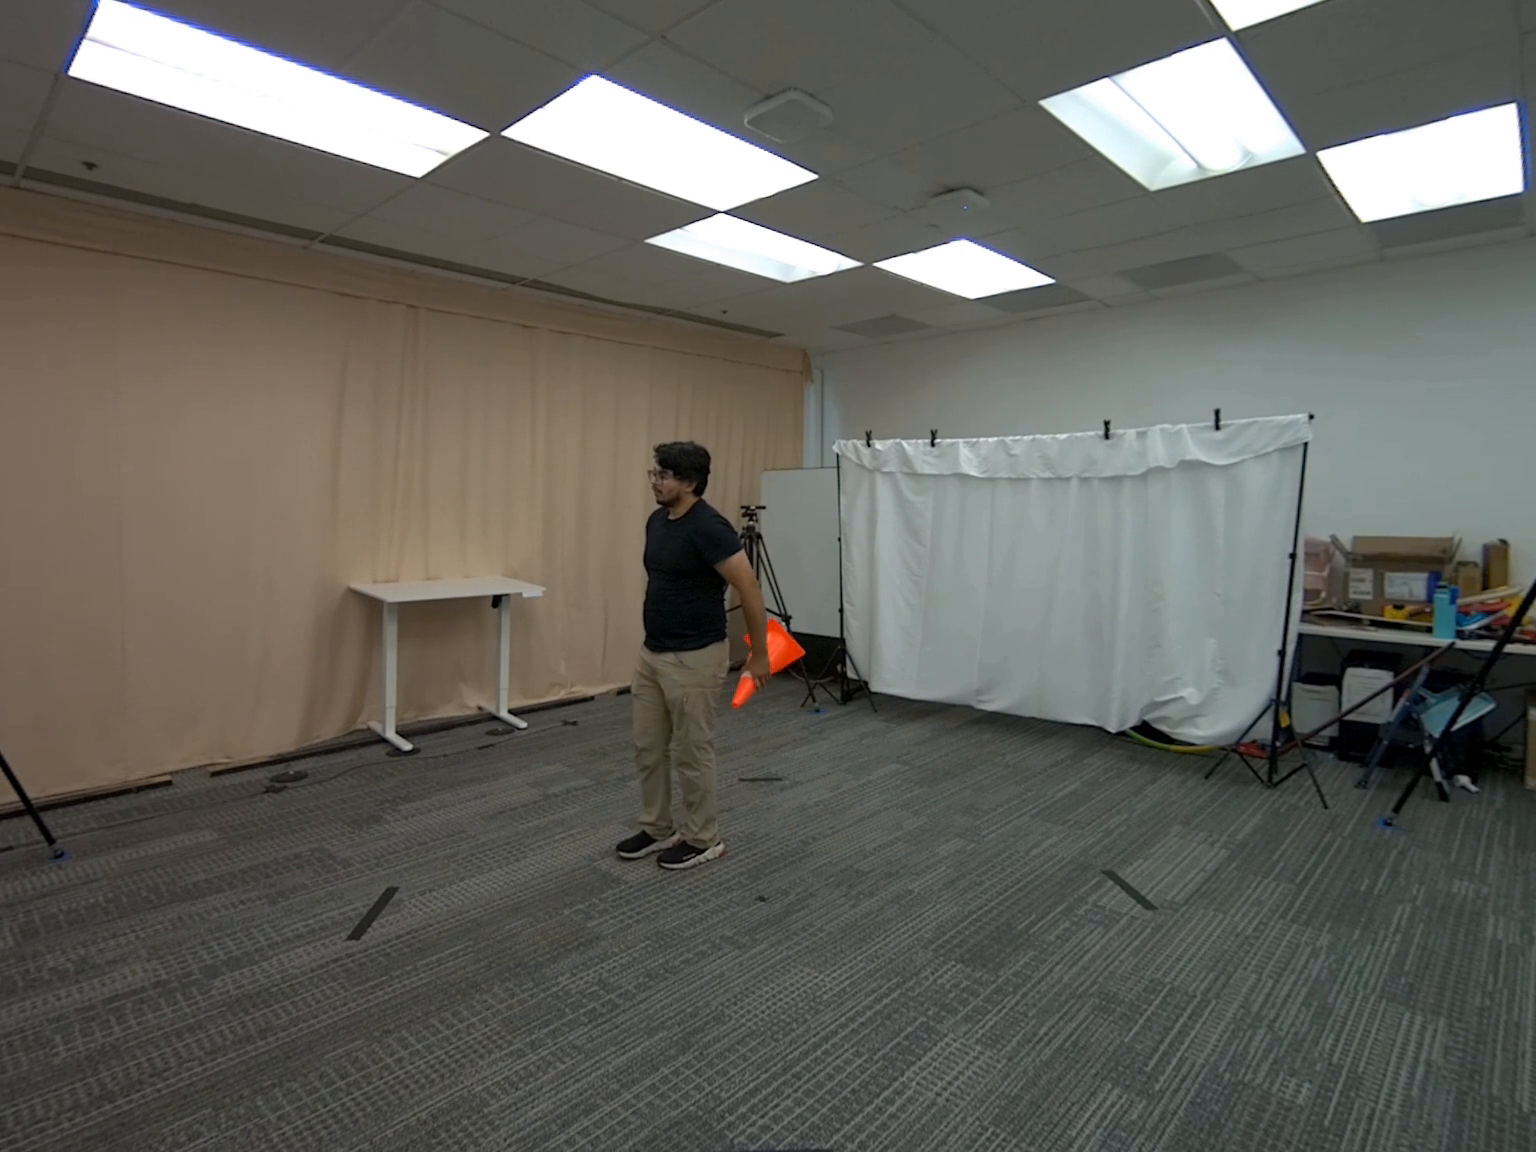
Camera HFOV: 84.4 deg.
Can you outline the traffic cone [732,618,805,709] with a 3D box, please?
[{"bbox_3d":[-0.057,0.377,3.241,0.206,0.203,0.381,-38,10,41],"label":"traffic cone"}]
